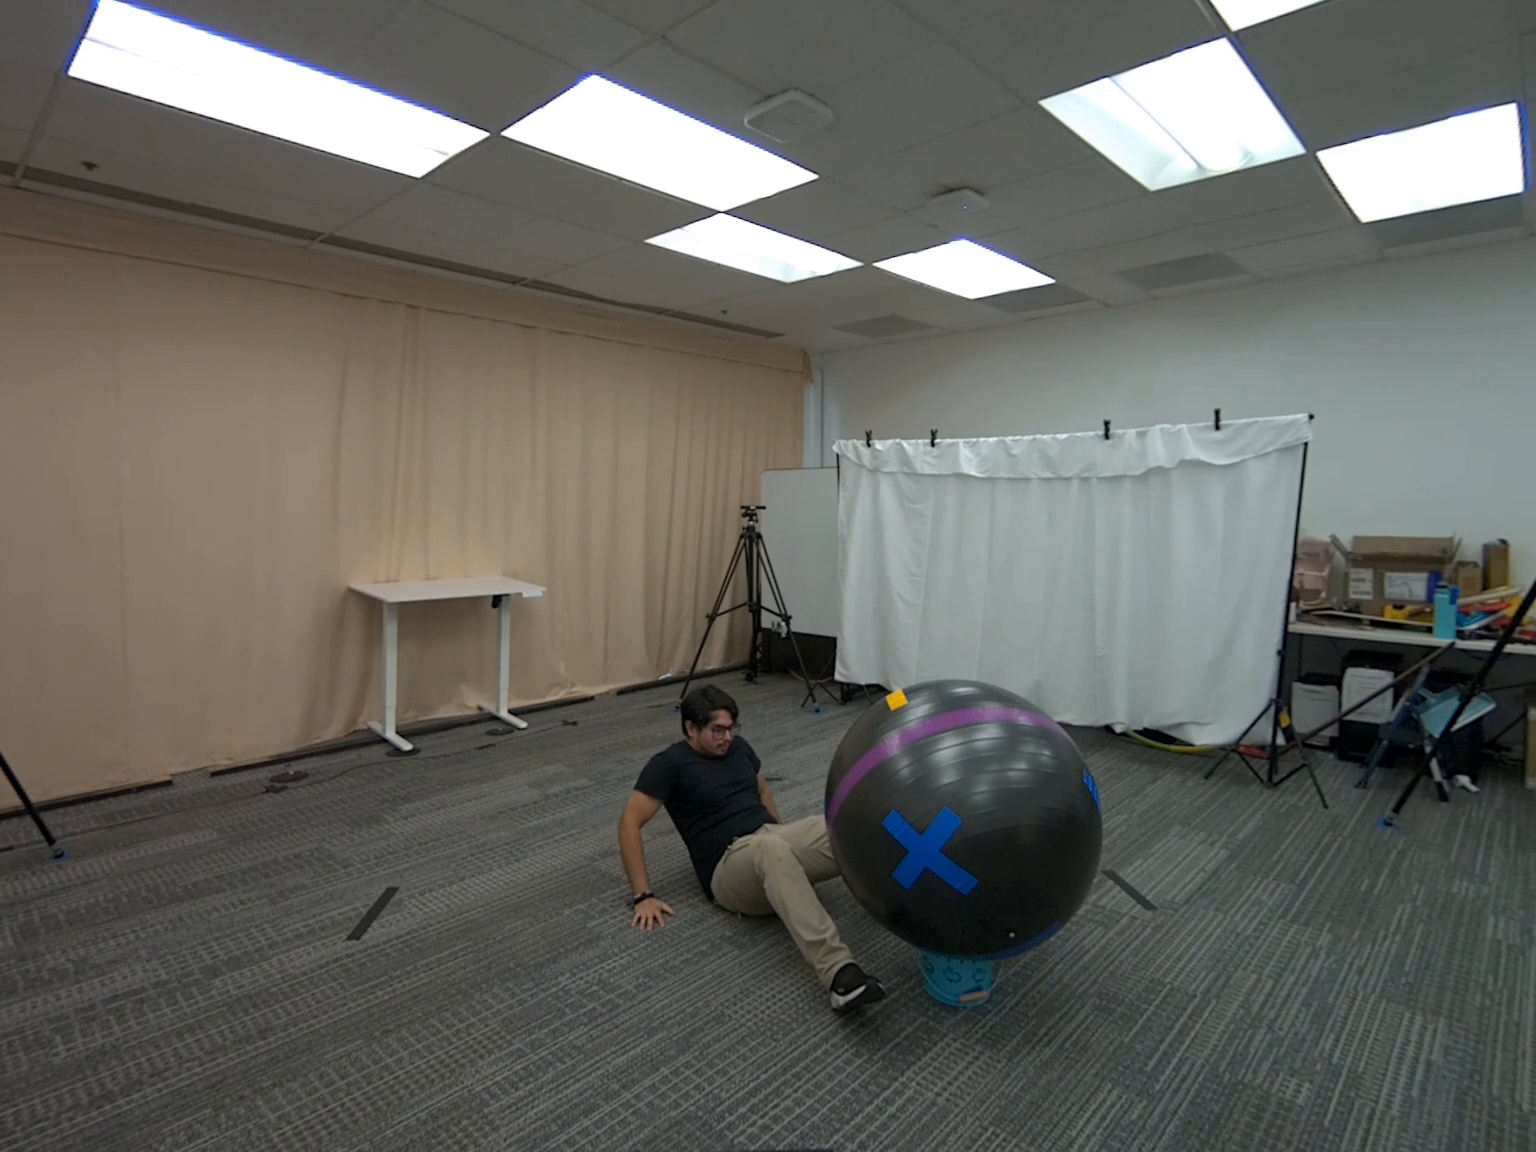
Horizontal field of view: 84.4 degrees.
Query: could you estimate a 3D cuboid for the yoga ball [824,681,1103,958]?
[{"bbox_3d":[0.551,0.683,2.403,0.757,0.756,0.760,0,4,-2],"label":"yoga ball"}]
